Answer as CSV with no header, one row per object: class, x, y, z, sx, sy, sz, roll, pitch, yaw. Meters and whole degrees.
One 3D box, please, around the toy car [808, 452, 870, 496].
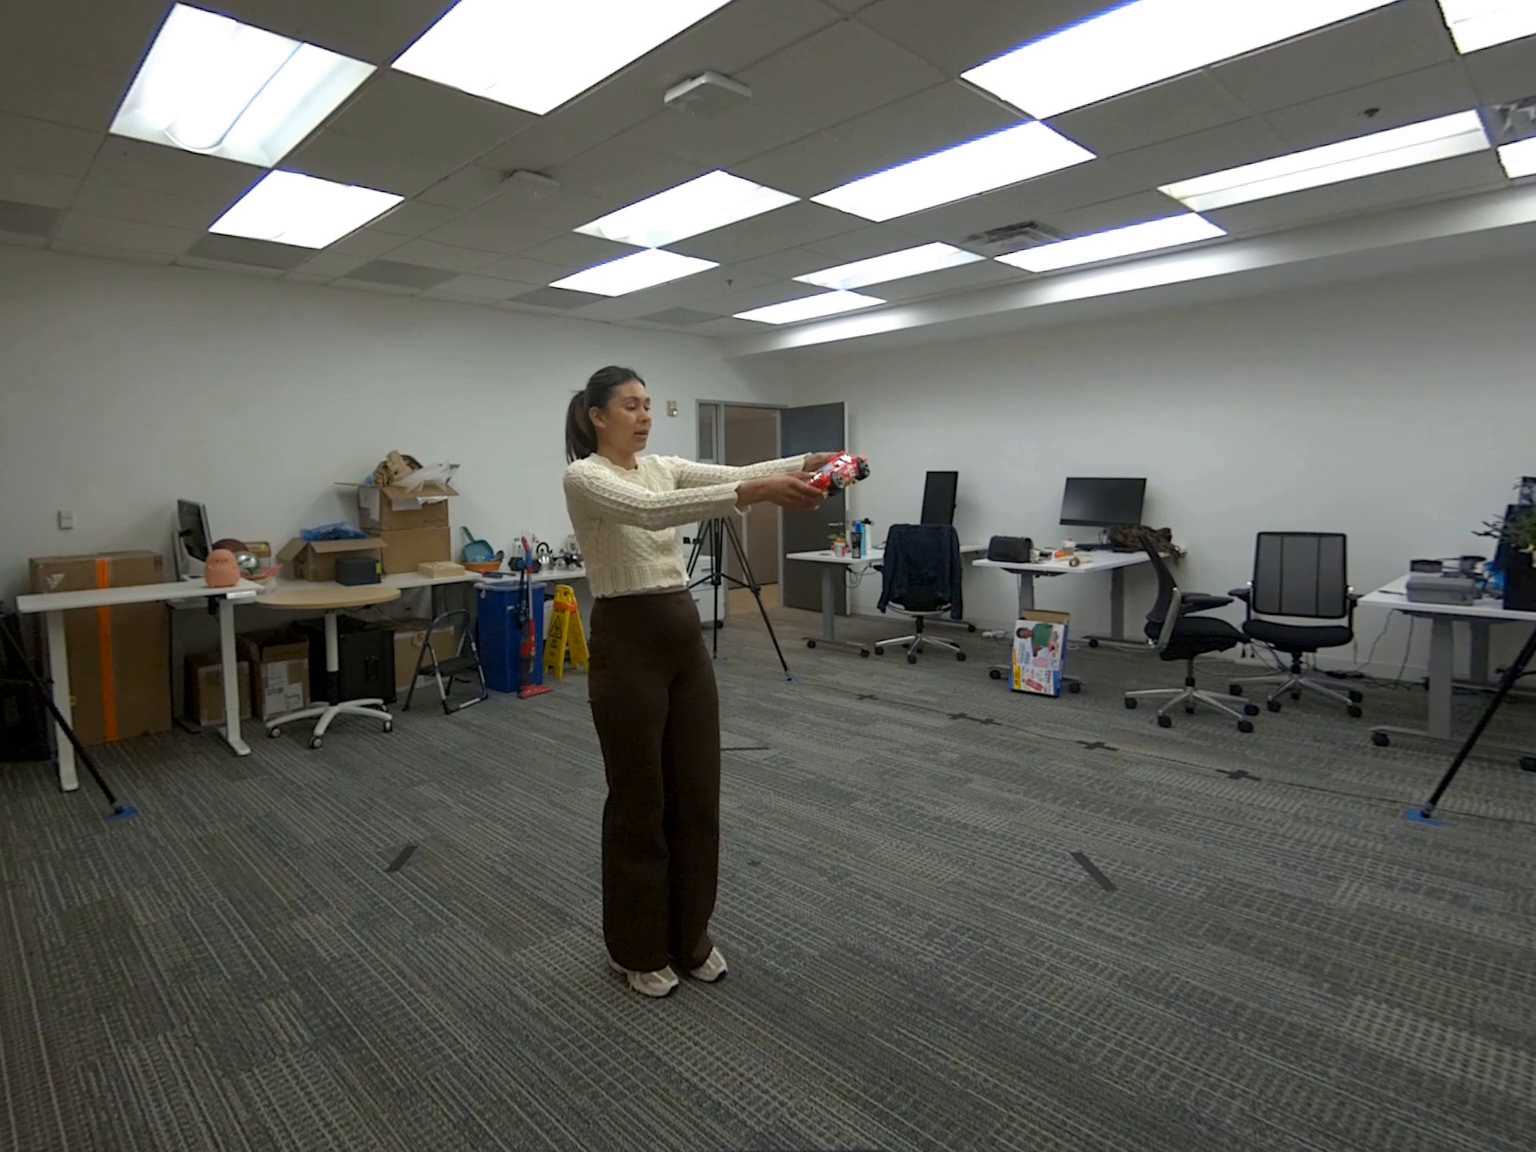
toy car,0.155,-0.220,2.016,0.131,0.082,0.254,-30,10,36
